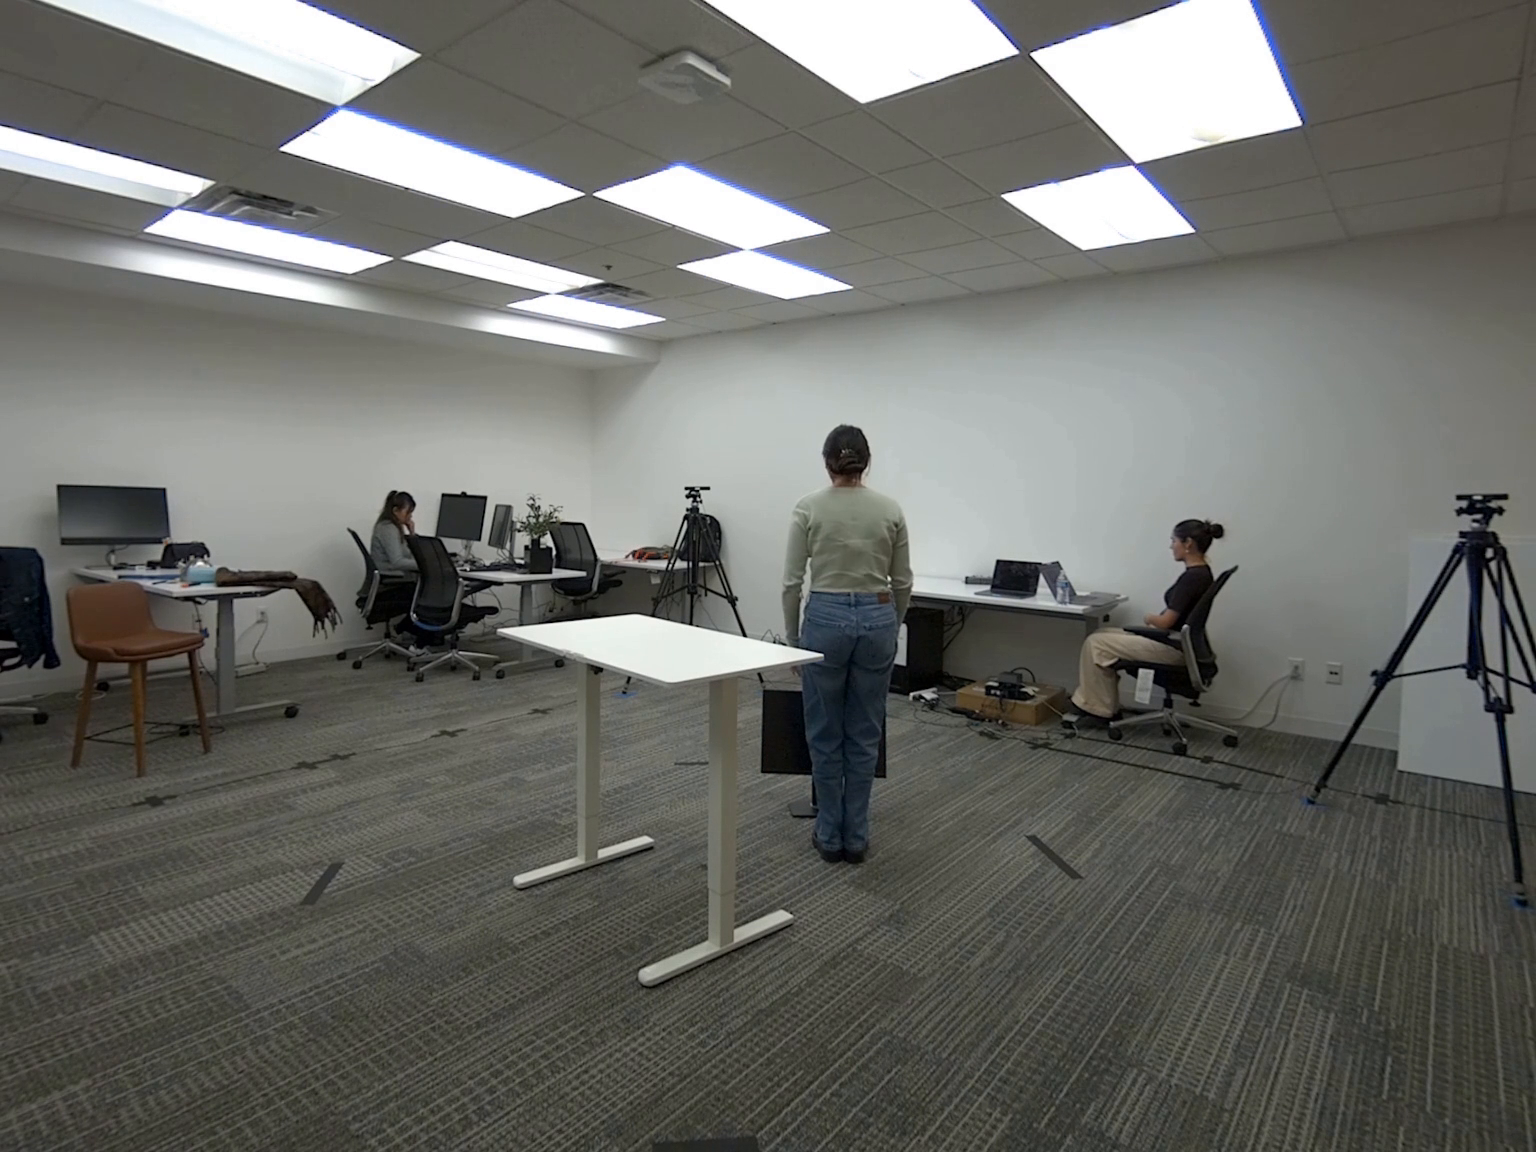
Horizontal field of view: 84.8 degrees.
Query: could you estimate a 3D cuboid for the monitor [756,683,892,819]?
[{"bbox_3d":[0.236,0.758,3.680,0.537,0.522,0.188,3,1,-3],"label":"monitor"}]
